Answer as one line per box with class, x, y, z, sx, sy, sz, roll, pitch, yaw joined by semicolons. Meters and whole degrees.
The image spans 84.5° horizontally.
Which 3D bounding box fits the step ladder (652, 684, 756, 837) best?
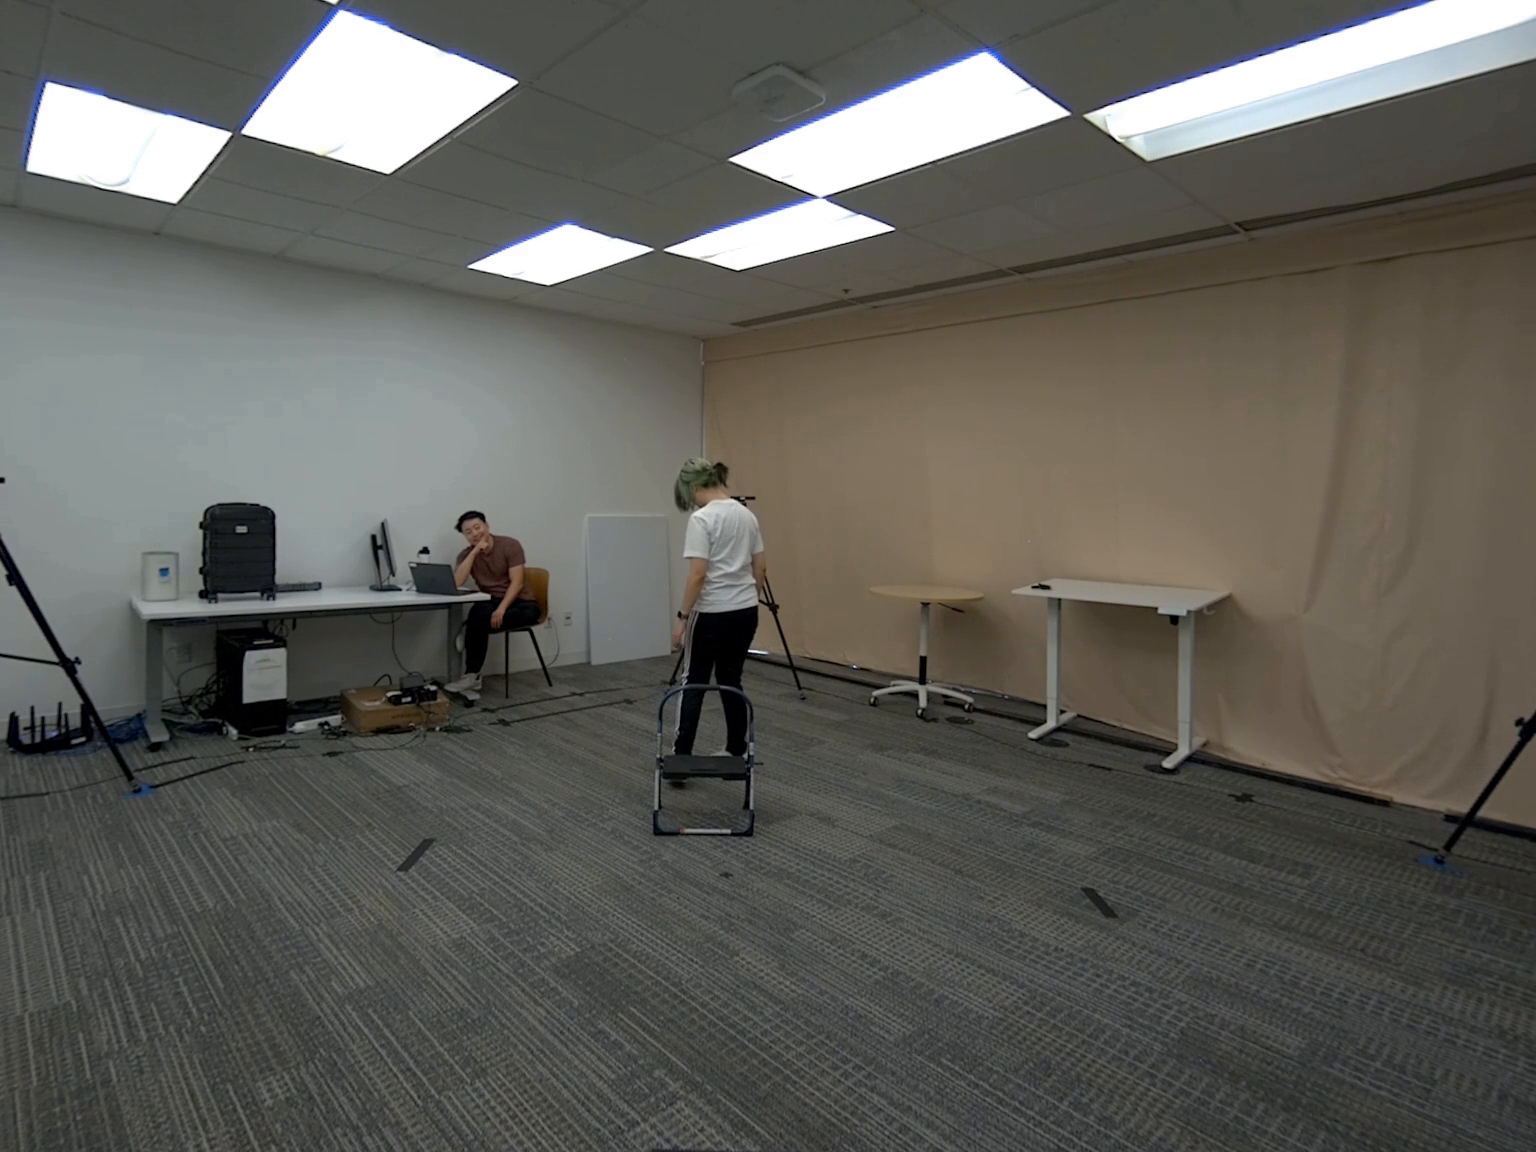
step ladder;-0.285;0.758;3.616;0.429;0.605;0.351;1;3;-4
